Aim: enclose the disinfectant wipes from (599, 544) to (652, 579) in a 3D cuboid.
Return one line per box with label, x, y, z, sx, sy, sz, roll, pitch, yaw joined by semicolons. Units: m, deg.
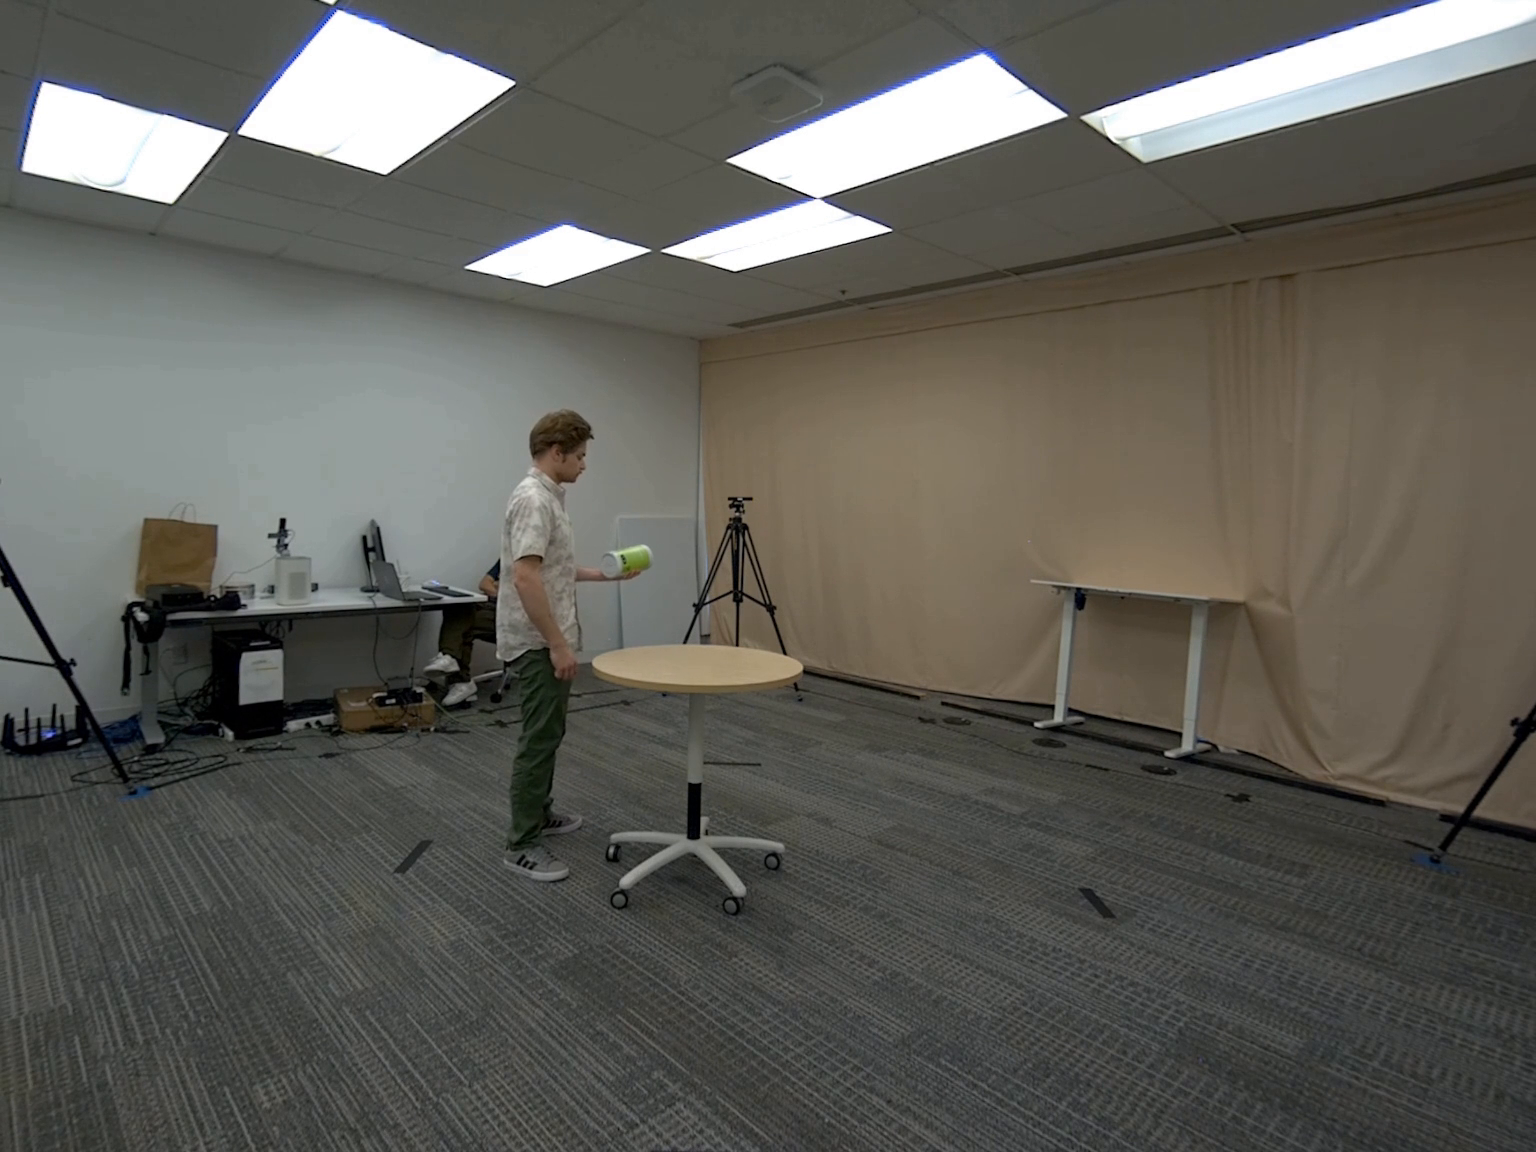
disinfectant wipes;-0.582;-0.062;3.433;0.120;0.117;0.214;4;11;34
